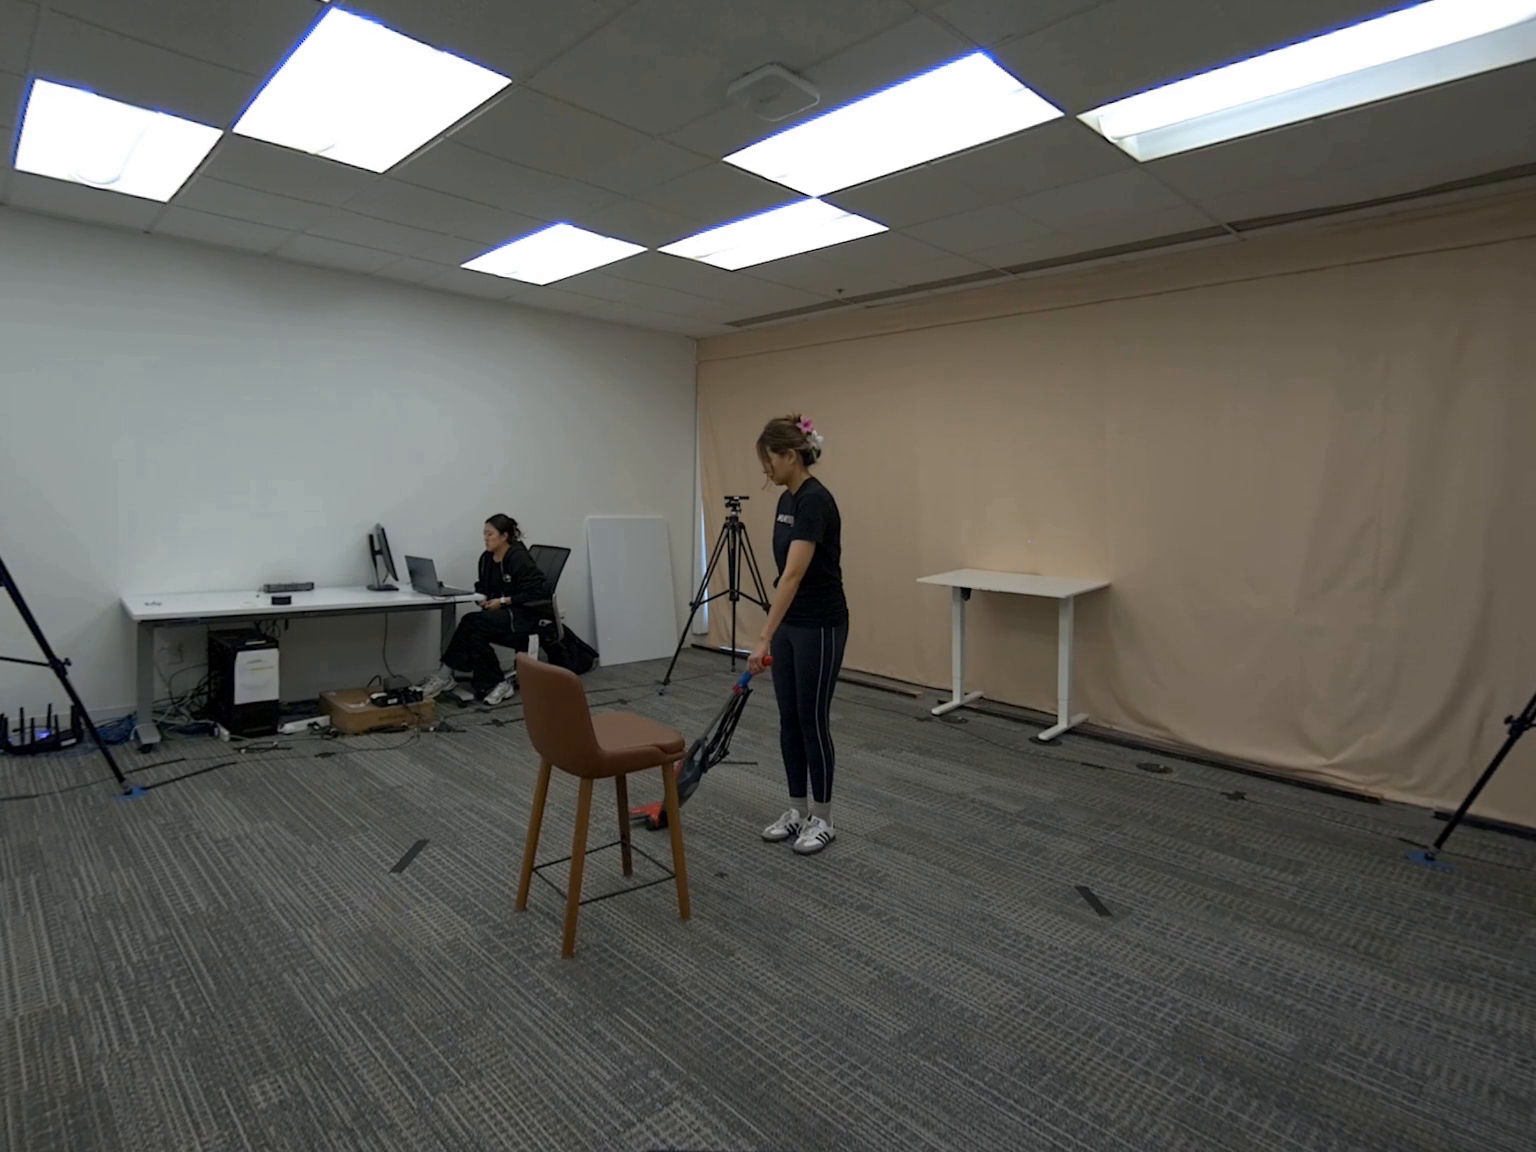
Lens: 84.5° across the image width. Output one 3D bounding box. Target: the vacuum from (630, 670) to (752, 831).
[{"bbox_3d":[-0.239,0.665,3.286,0.247,1.044,0.148,-7,51,-45],"label":"vacuum"}]
